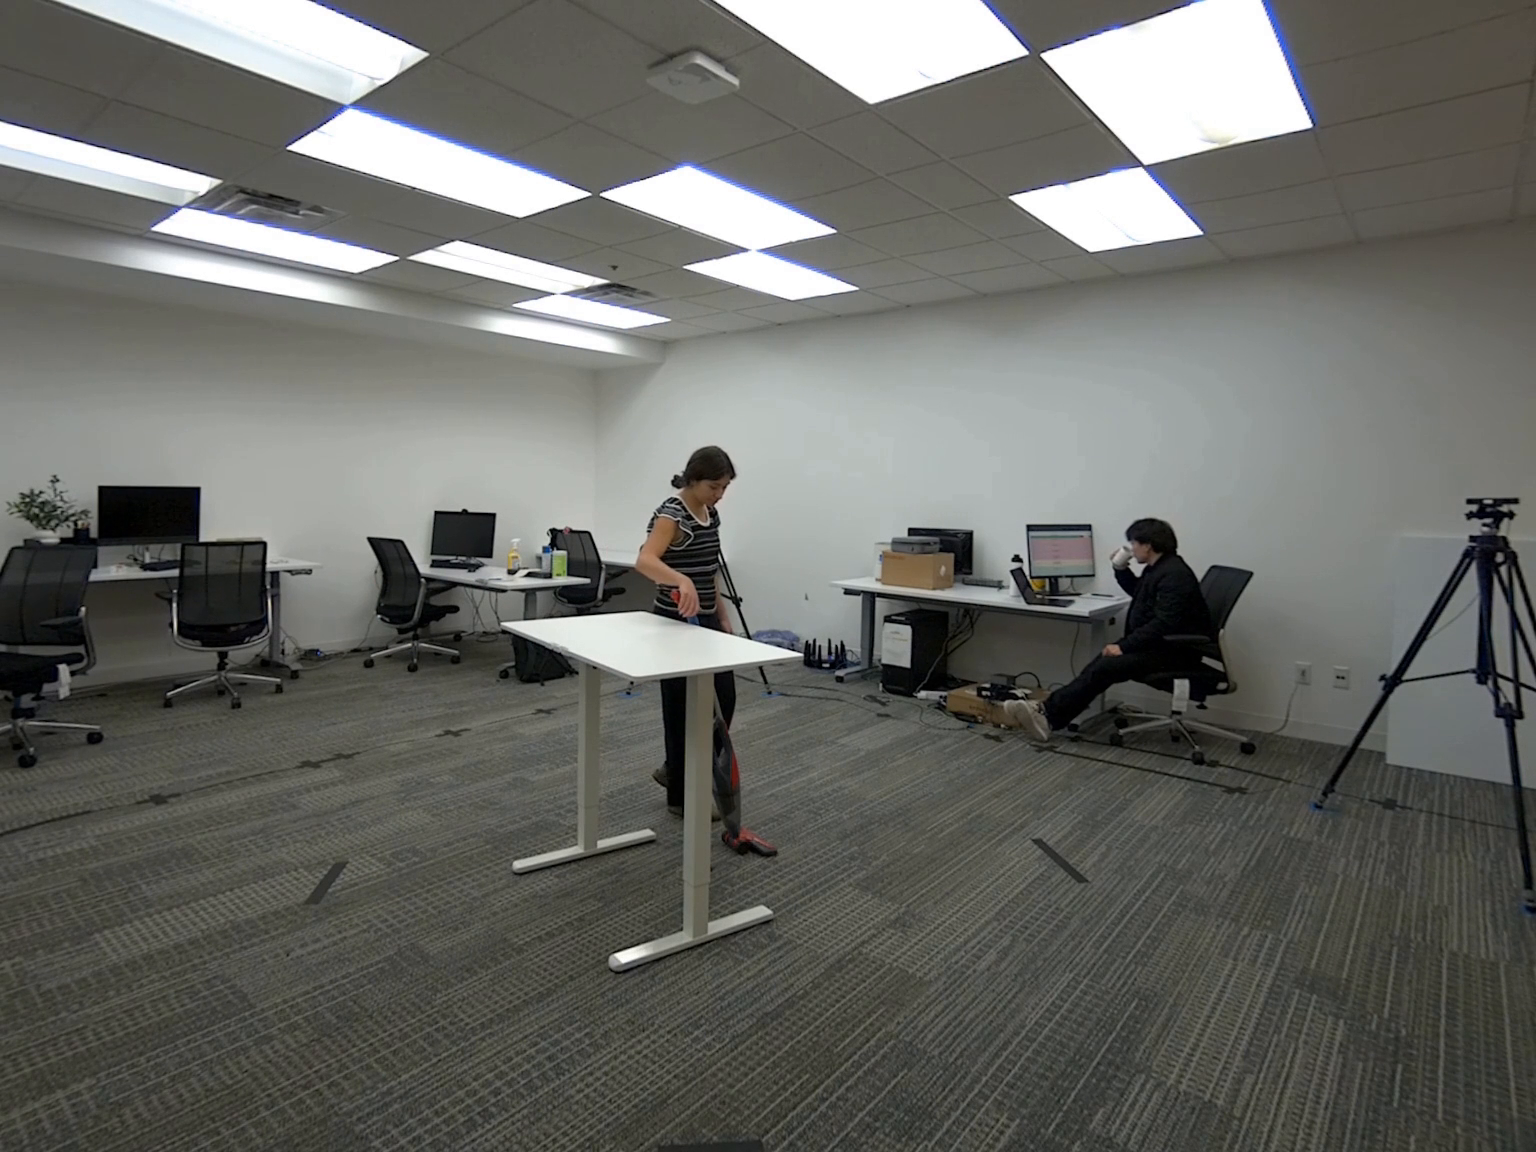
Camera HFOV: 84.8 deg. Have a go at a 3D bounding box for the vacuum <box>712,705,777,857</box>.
[{"bbox_3d":[-0.207,0.566,3.237,0.141,1.039,0.260,-18,10,-30],"label":"vacuum"}]
